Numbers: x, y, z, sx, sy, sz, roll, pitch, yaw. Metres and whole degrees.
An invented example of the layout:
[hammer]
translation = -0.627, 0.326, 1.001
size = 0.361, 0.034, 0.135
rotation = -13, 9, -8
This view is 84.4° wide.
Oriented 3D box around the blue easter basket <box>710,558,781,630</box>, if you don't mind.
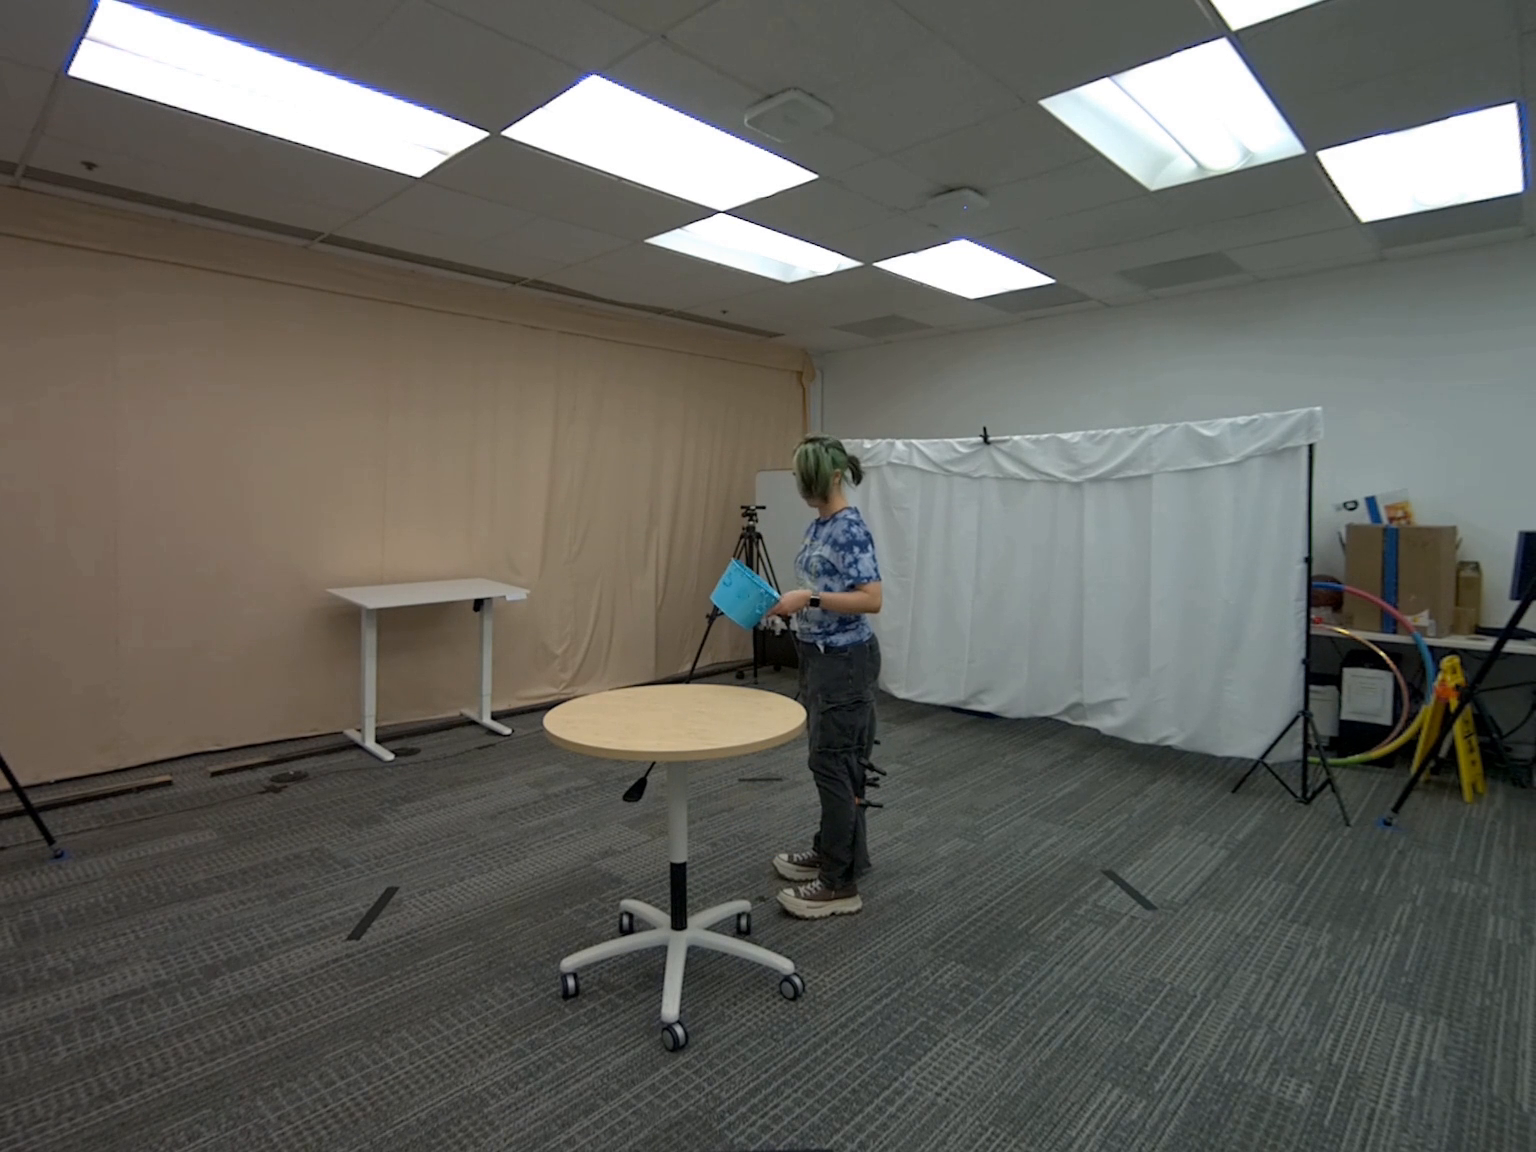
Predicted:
[blue easter basket]
translation = -0.067, 0.082, 2.901
size = 0.242, 0.156, 0.245
rotation = 40, 5, -7
